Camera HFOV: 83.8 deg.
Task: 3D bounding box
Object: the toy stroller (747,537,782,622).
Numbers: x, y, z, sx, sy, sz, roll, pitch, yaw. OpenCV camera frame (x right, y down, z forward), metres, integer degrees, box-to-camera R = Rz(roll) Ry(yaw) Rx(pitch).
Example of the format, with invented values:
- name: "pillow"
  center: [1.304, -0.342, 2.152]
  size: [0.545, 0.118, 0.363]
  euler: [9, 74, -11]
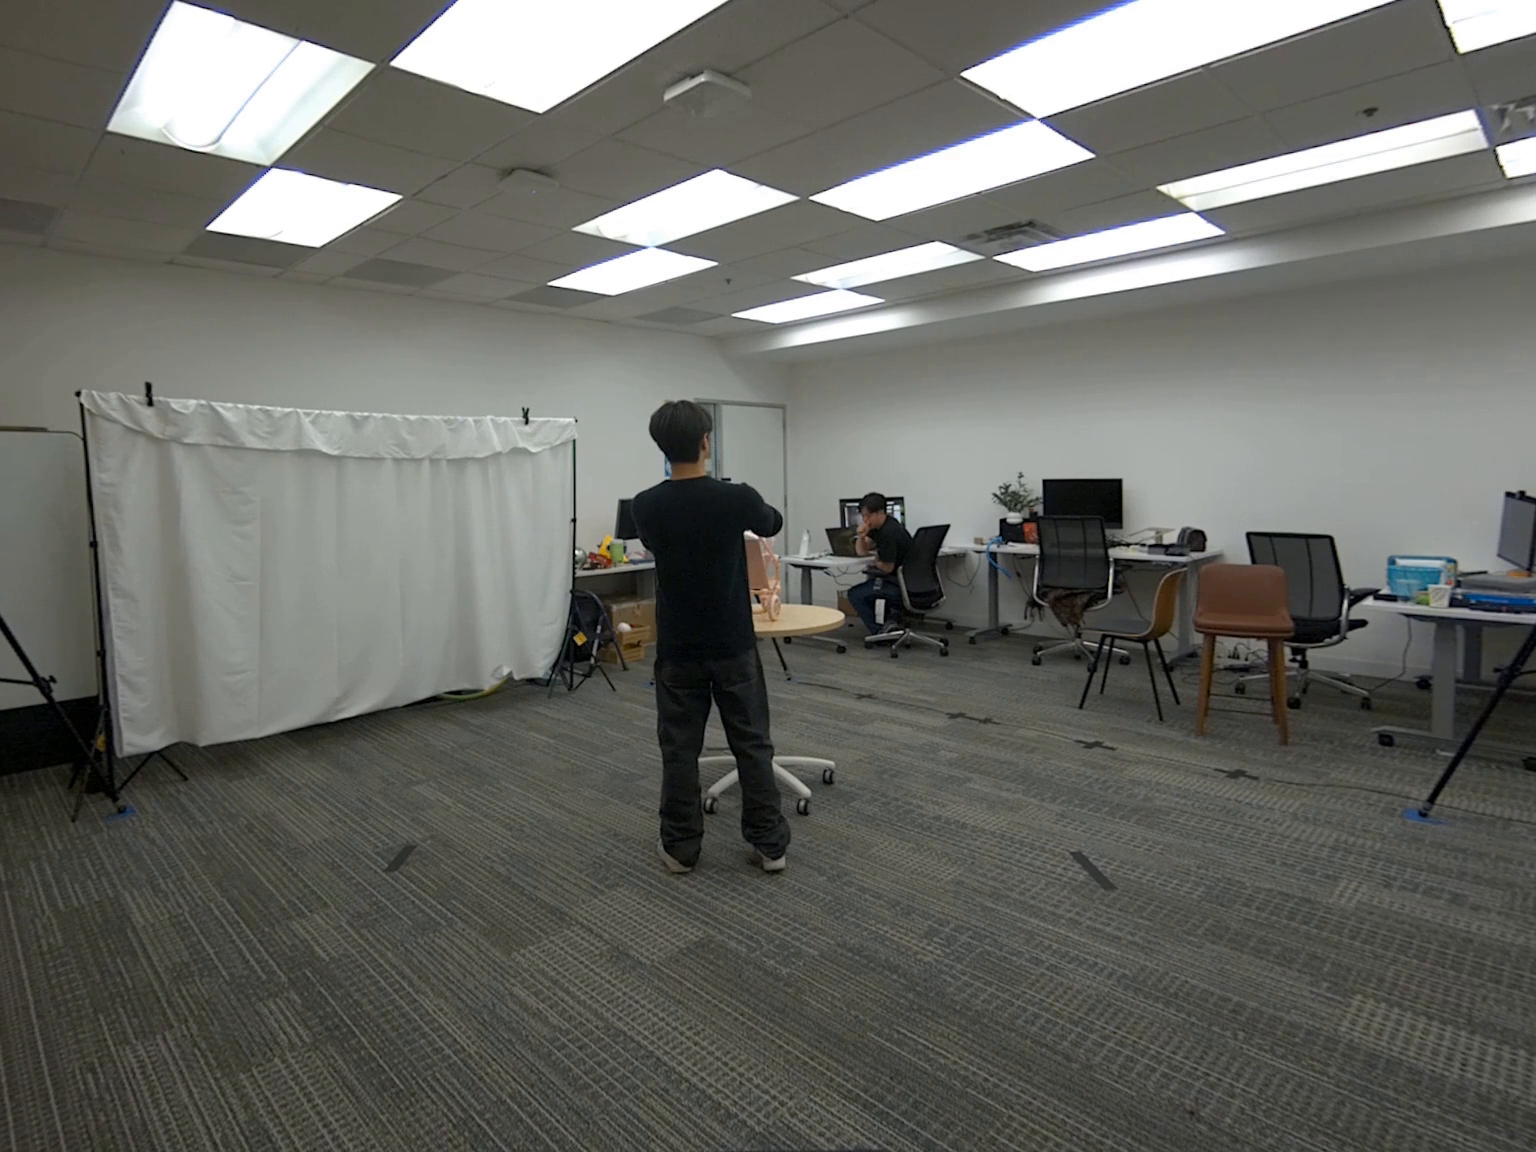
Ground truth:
- name: "toy stroller"
  center: [-0.071, -0.038, 3.774]
  size: [0.288, 0.526, 0.339]
  euler: [0, 19, 24]
